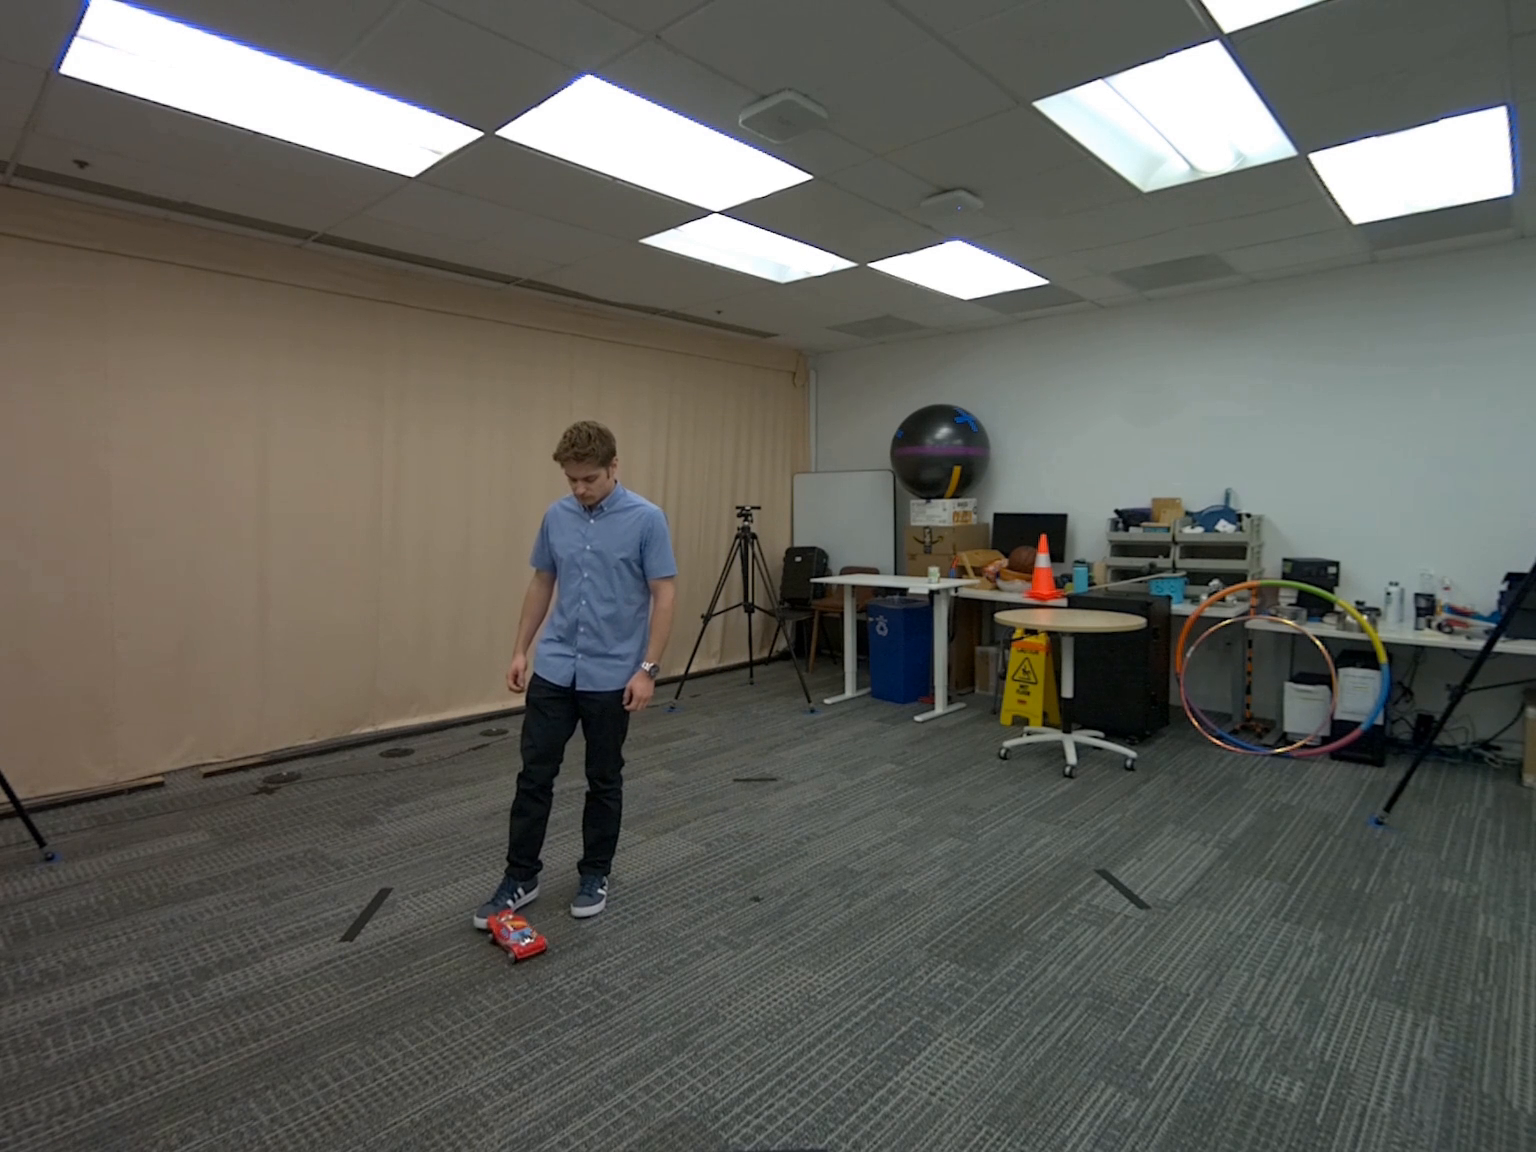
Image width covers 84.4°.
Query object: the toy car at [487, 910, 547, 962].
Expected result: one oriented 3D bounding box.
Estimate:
[{"bbox_3d":[-0.805,1.141,2.676,0.126,0.083,0.264,-4,17,-40],"label":"toy car"}]
